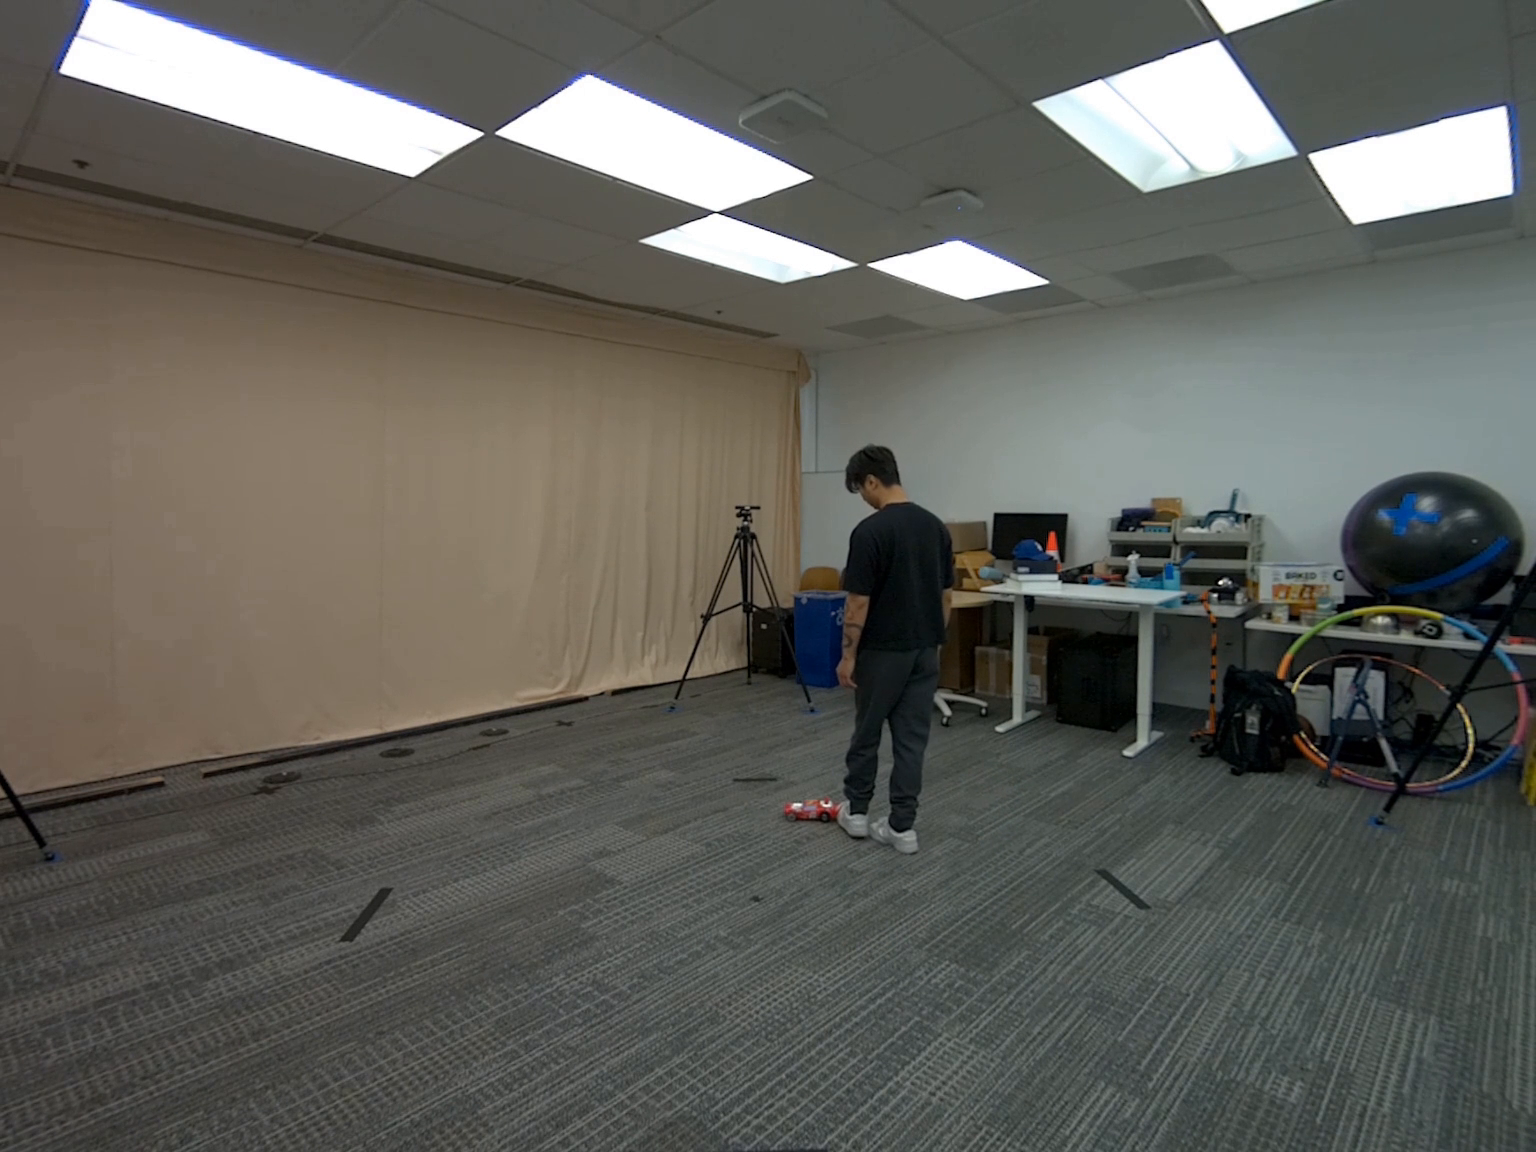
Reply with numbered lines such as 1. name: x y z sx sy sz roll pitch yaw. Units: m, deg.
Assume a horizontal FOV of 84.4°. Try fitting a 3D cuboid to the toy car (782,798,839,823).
1. toy car: 0.199 1.046 3.759 0.256 0.083 0.129 -11 2 7
